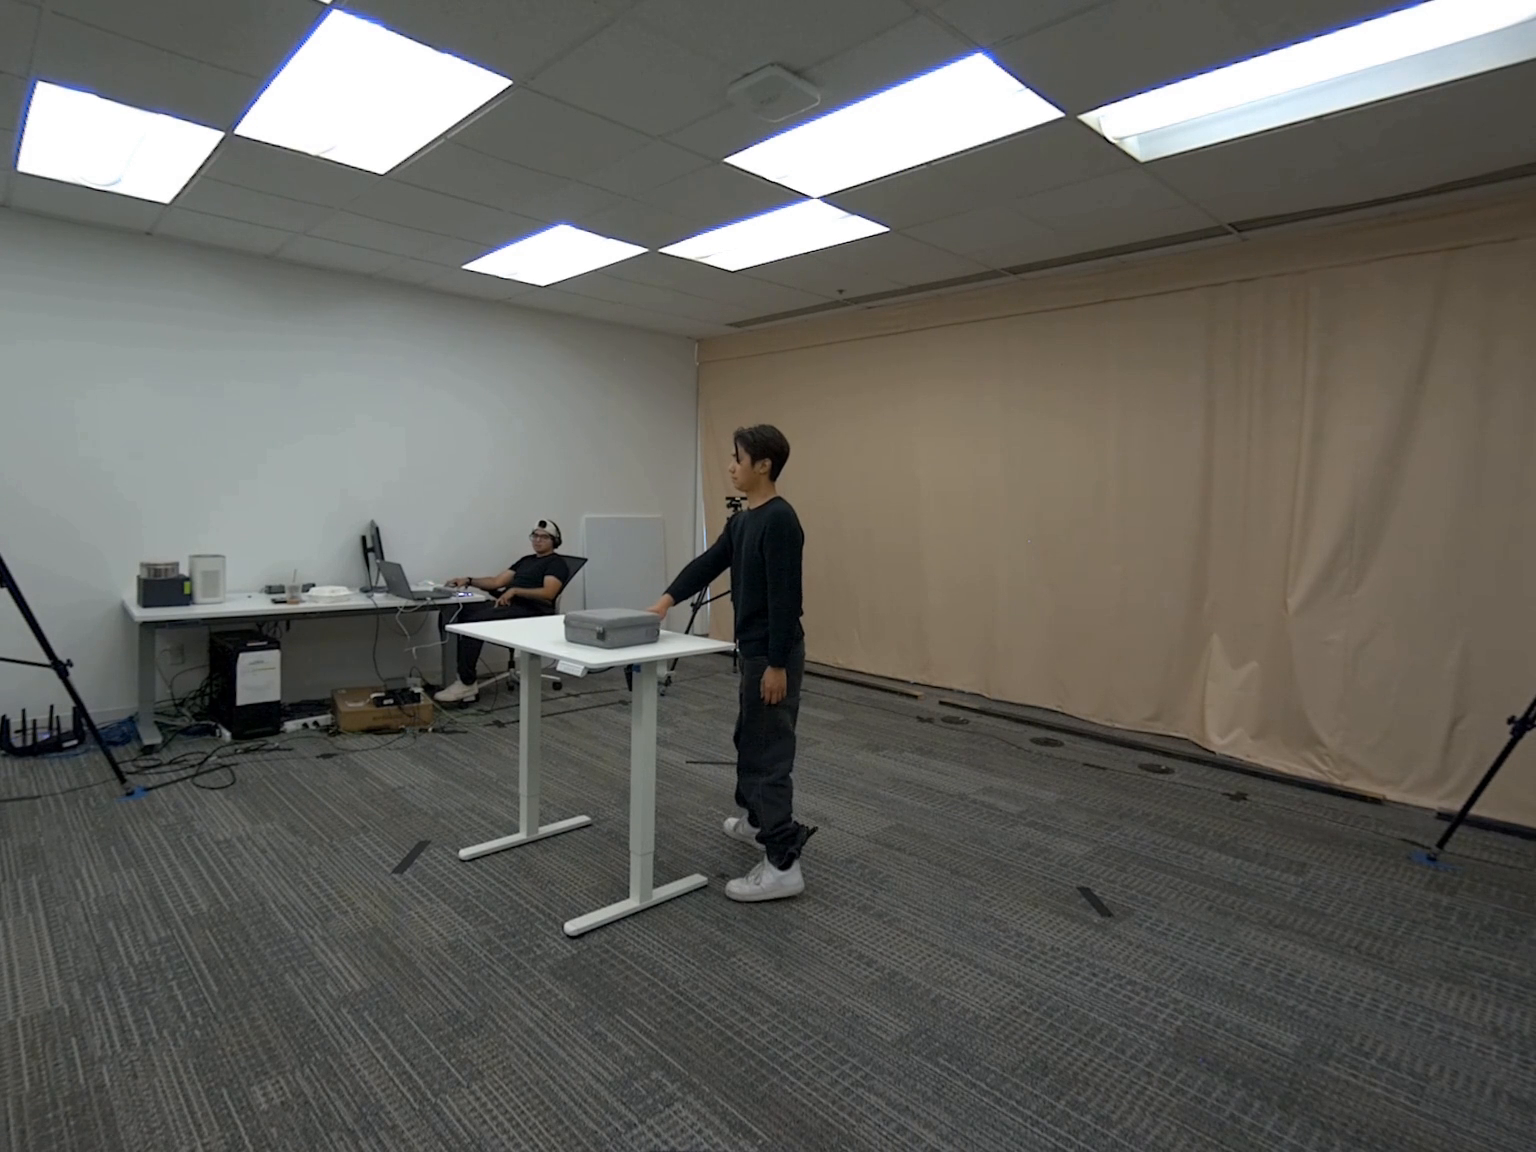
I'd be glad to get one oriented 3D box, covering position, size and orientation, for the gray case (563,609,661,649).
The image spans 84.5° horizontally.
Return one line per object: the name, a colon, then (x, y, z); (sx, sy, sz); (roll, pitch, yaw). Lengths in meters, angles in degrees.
gray case: (-0.545, 0.175, 2.930); (0.263, 0.104, 0.255); (3, 4, 40)
